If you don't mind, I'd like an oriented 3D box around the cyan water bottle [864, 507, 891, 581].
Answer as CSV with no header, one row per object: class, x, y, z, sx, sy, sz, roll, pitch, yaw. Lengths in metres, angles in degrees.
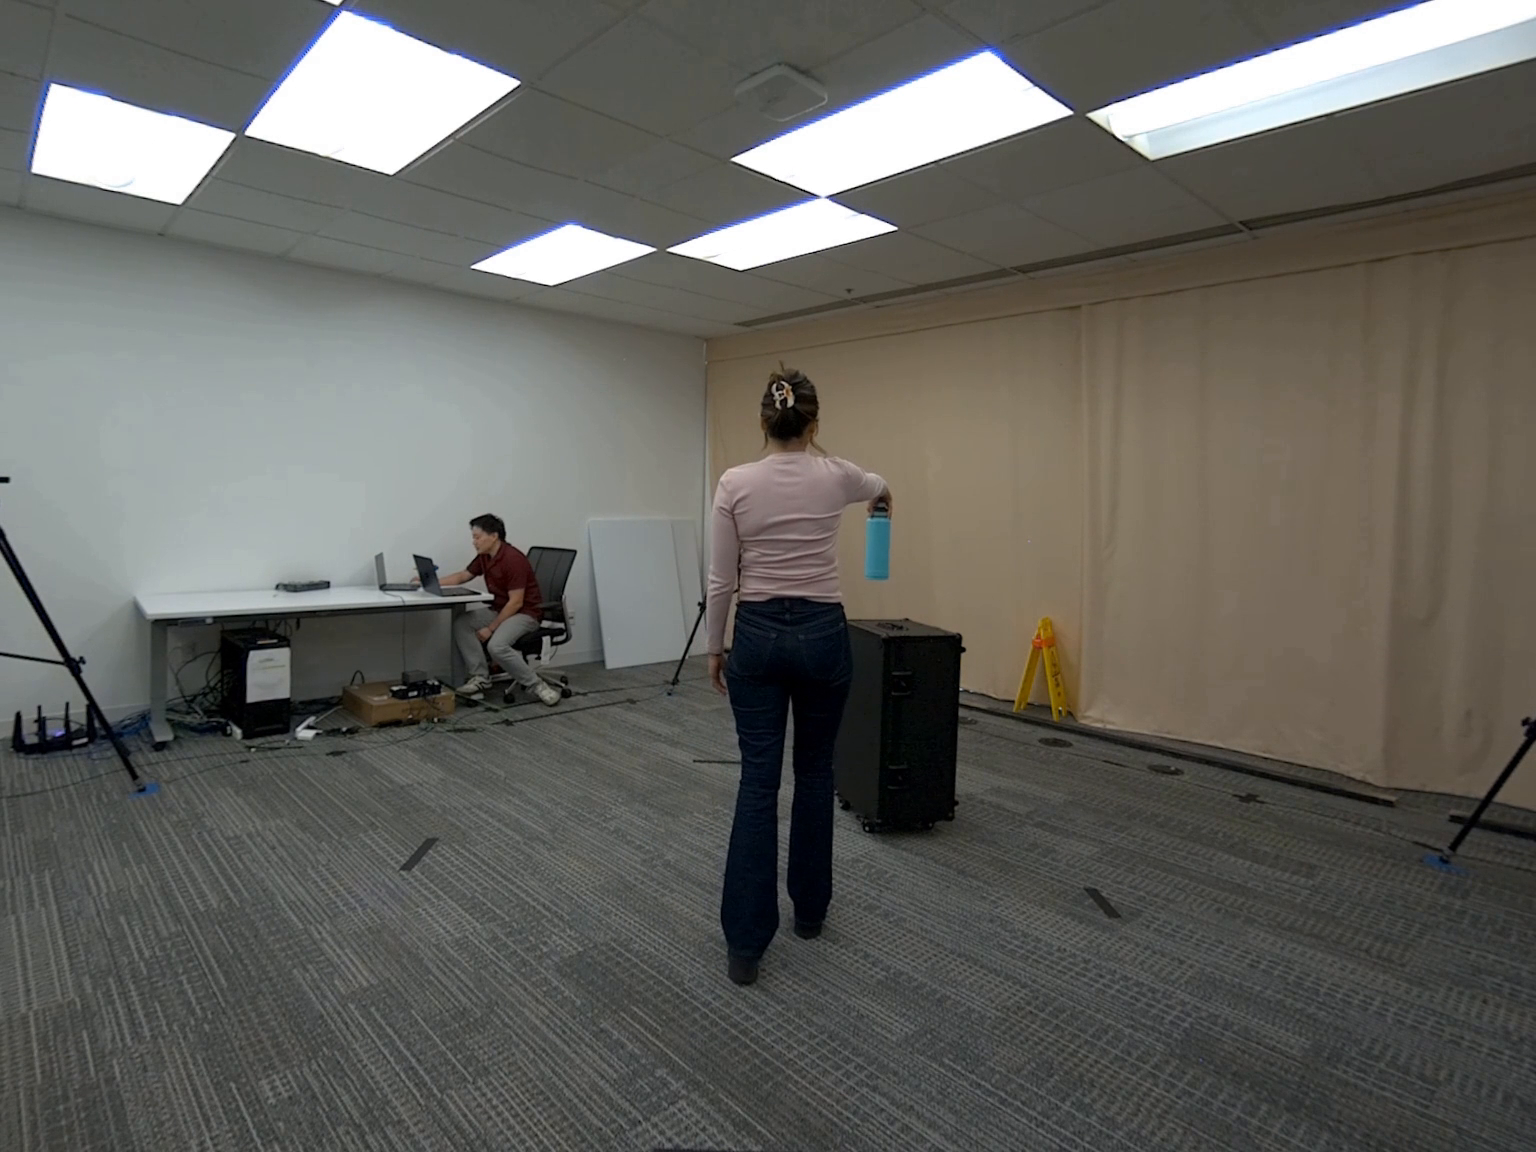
cyan water bottle,0.400,-0.131,3.118,0.092,0.283,0.092,0,3,-1
